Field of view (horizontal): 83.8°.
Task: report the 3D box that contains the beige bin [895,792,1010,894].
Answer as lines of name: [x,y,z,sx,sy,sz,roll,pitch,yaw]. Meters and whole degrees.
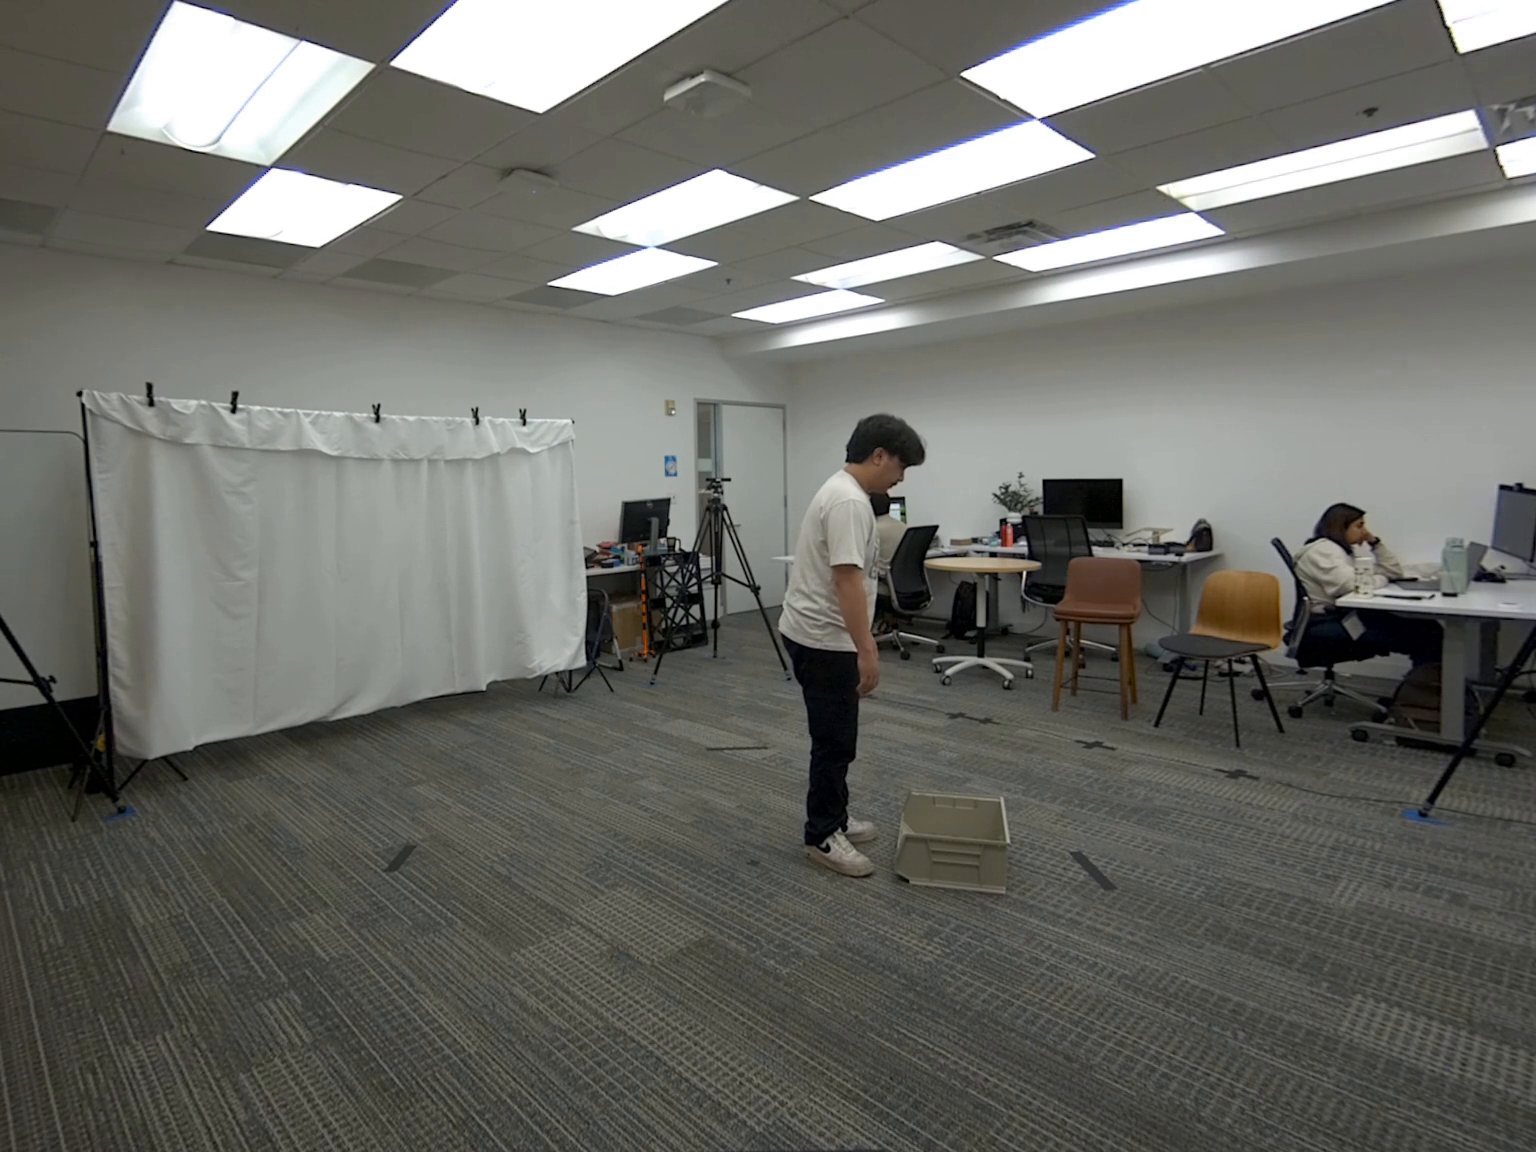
beige bin: [0.662,0.942,3.073,0.382,0.188,0.418,1,5,13]
